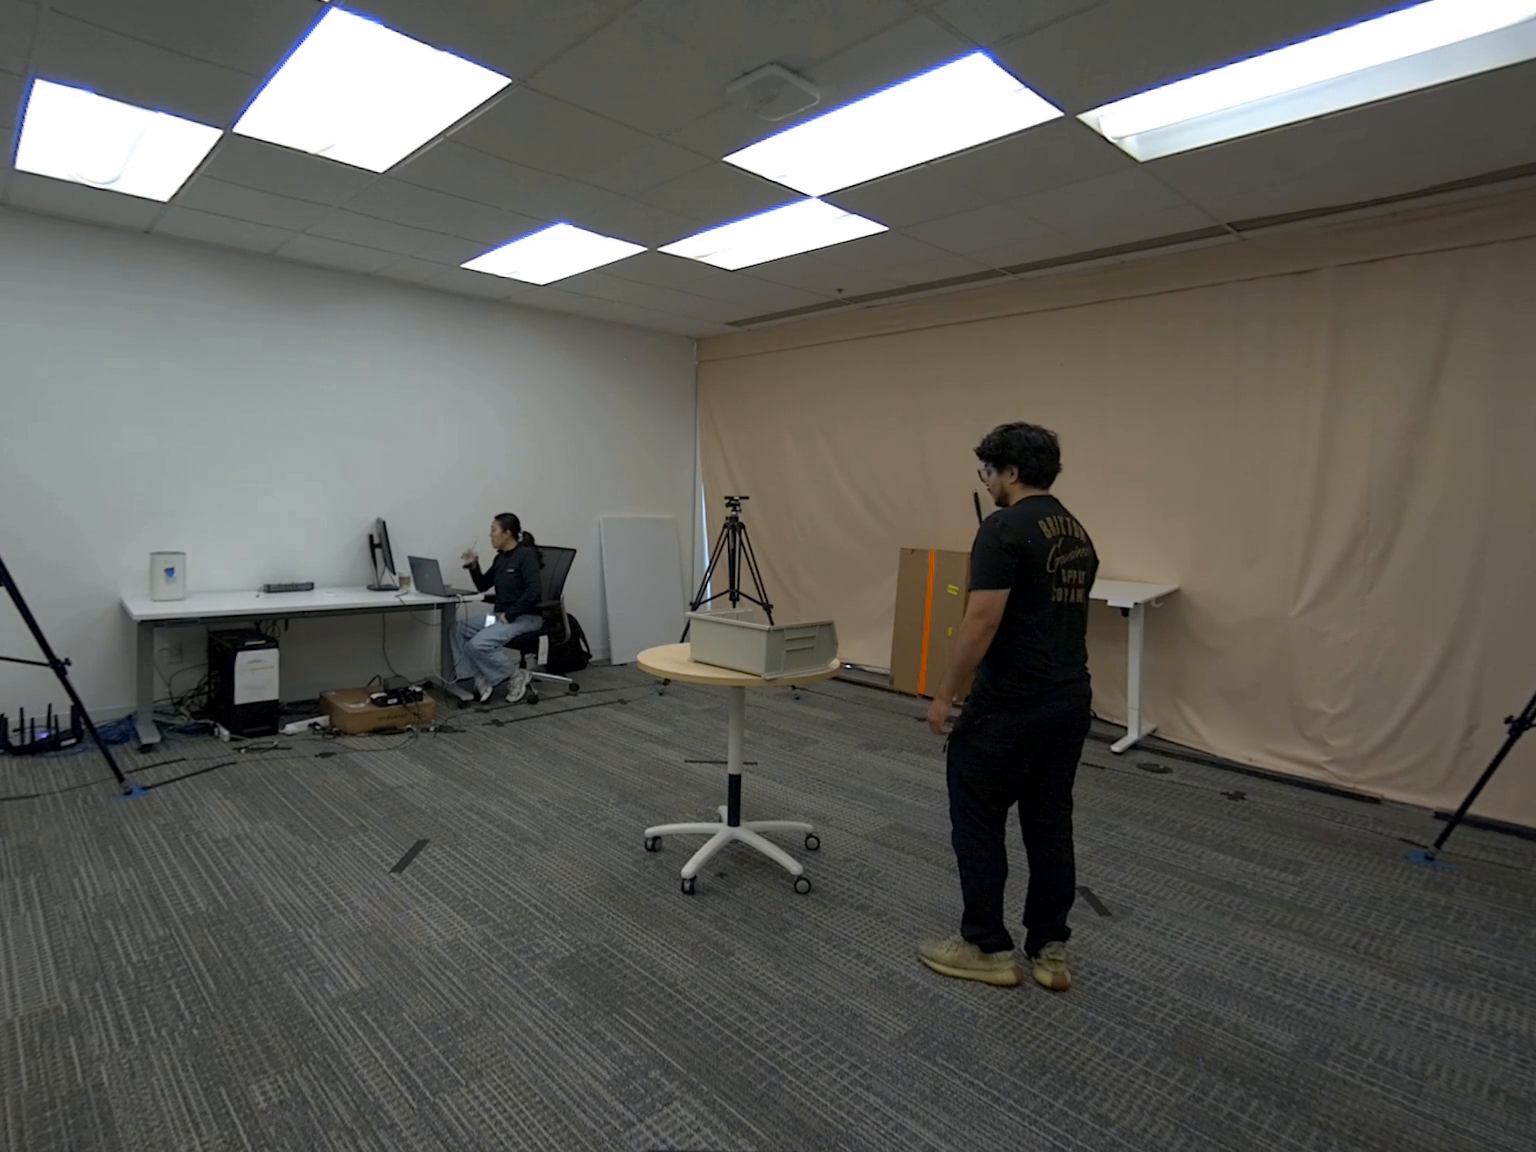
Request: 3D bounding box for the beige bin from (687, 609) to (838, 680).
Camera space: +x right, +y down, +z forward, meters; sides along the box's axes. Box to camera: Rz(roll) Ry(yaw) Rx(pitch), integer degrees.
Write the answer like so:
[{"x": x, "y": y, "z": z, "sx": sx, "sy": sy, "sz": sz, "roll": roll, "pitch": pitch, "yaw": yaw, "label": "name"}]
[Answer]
[{"x": -0.031, "y": 0.236, "z": 3.069, "sx": 0.433, "sy": 0.188, "sz": 0.369, "roll": 6, "pitch": 7, "yaw": 44, "label": "beige bin"}]
